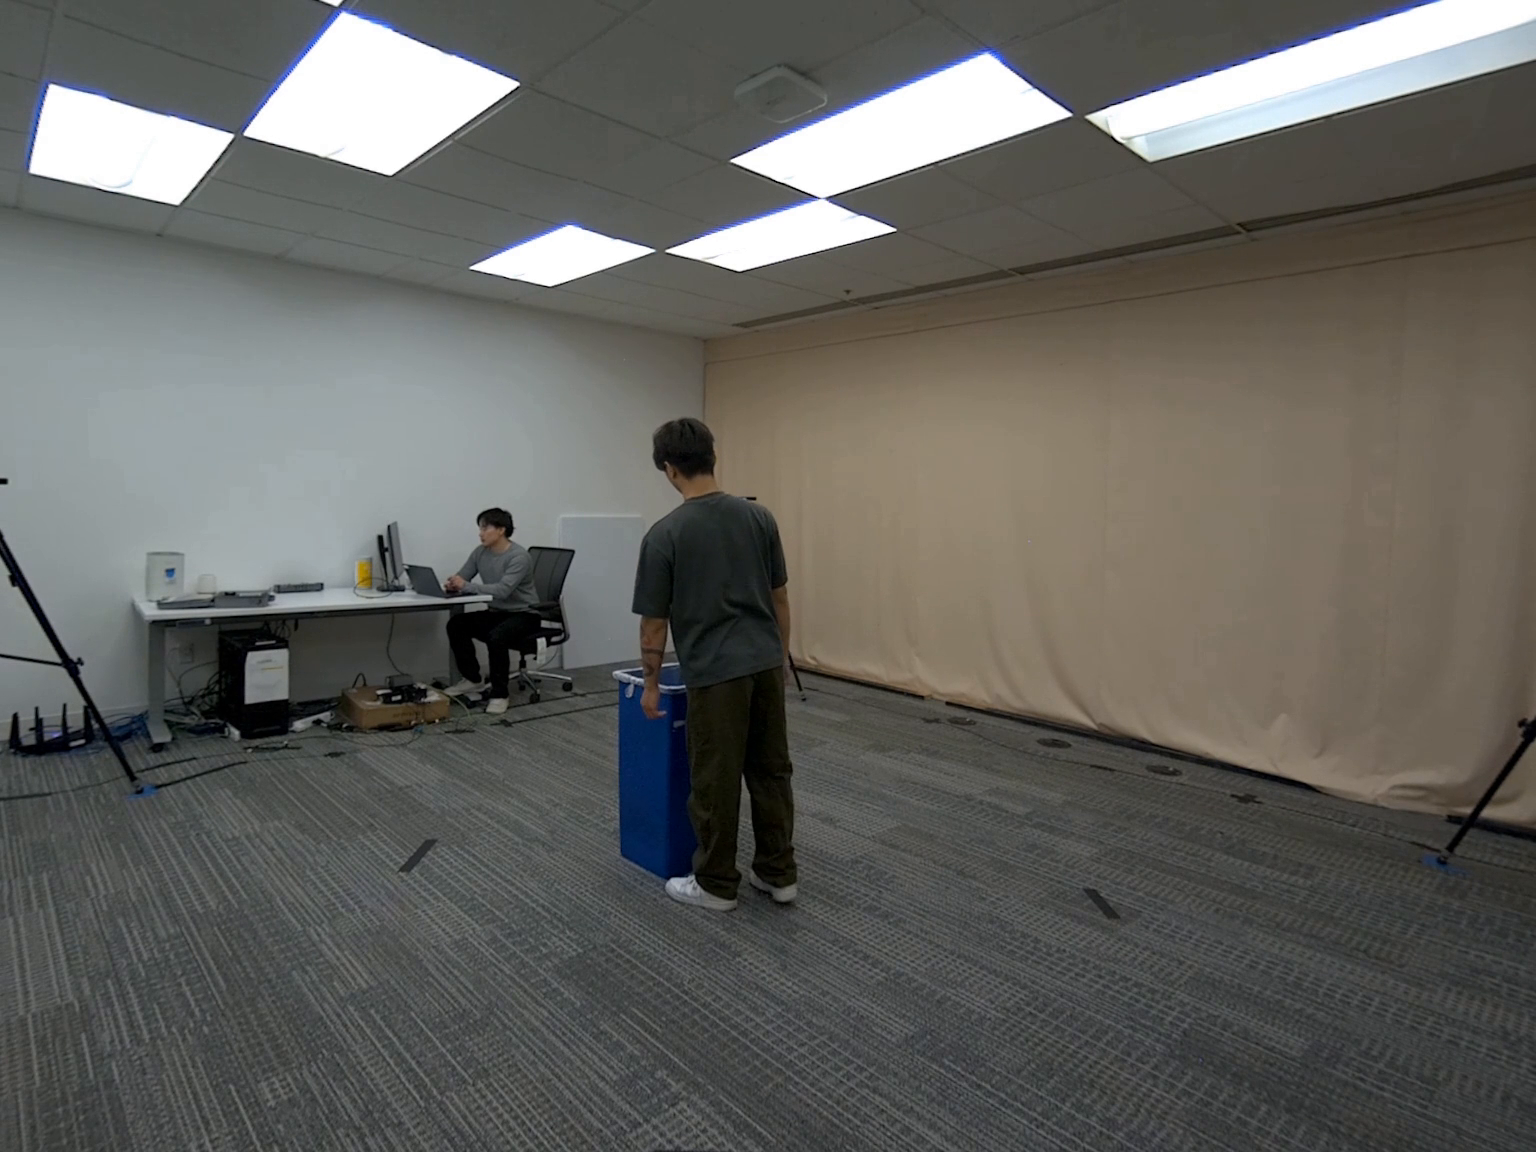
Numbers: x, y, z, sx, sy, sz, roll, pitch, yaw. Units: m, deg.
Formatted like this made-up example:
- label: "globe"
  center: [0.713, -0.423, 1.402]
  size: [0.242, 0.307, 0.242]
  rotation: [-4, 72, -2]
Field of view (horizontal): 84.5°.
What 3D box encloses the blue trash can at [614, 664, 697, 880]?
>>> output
- label: "blue trash can"
  center: [-0.374, 0.731, 3.250]
  size: [0.369, 0.712, 0.384]
  rotation: [-1, 5, -45]
